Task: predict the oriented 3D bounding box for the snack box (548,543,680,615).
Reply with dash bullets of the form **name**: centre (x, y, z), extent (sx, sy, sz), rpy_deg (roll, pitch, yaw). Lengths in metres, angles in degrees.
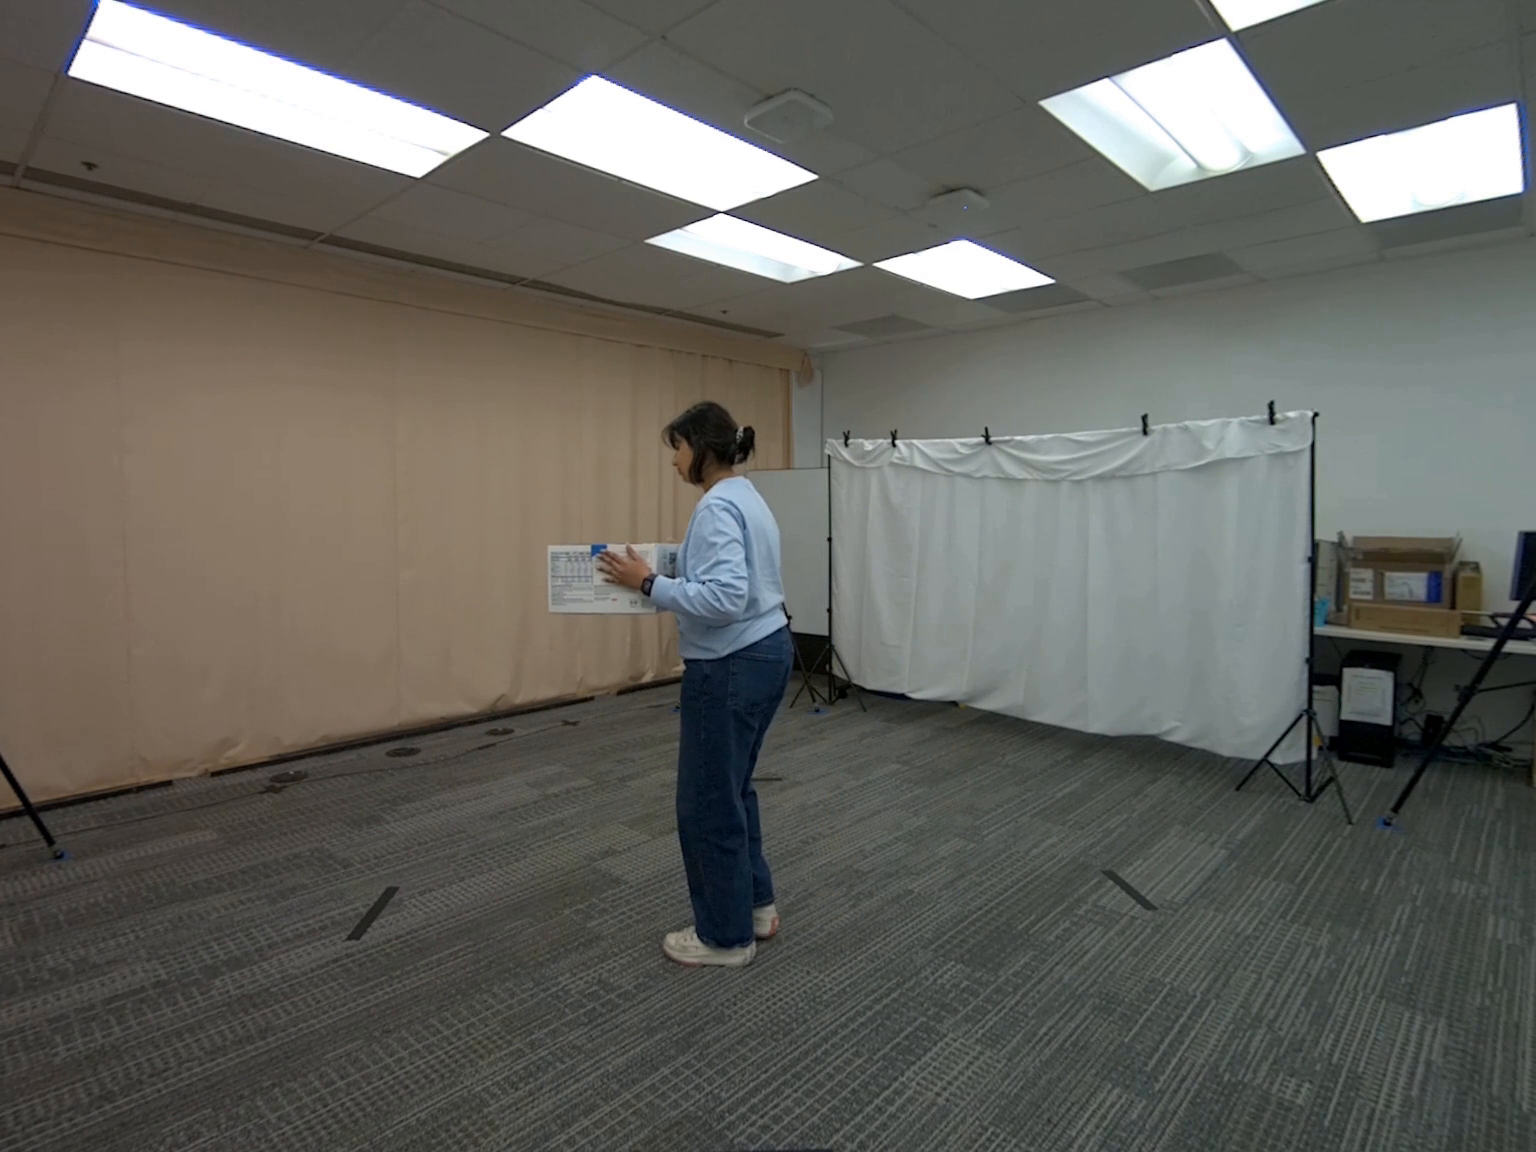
- **snack box**: centre (-0.440, 0.004, 2.631), extent (0.345, 0.205, 0.400), rpy_deg (0, 2, 12)
